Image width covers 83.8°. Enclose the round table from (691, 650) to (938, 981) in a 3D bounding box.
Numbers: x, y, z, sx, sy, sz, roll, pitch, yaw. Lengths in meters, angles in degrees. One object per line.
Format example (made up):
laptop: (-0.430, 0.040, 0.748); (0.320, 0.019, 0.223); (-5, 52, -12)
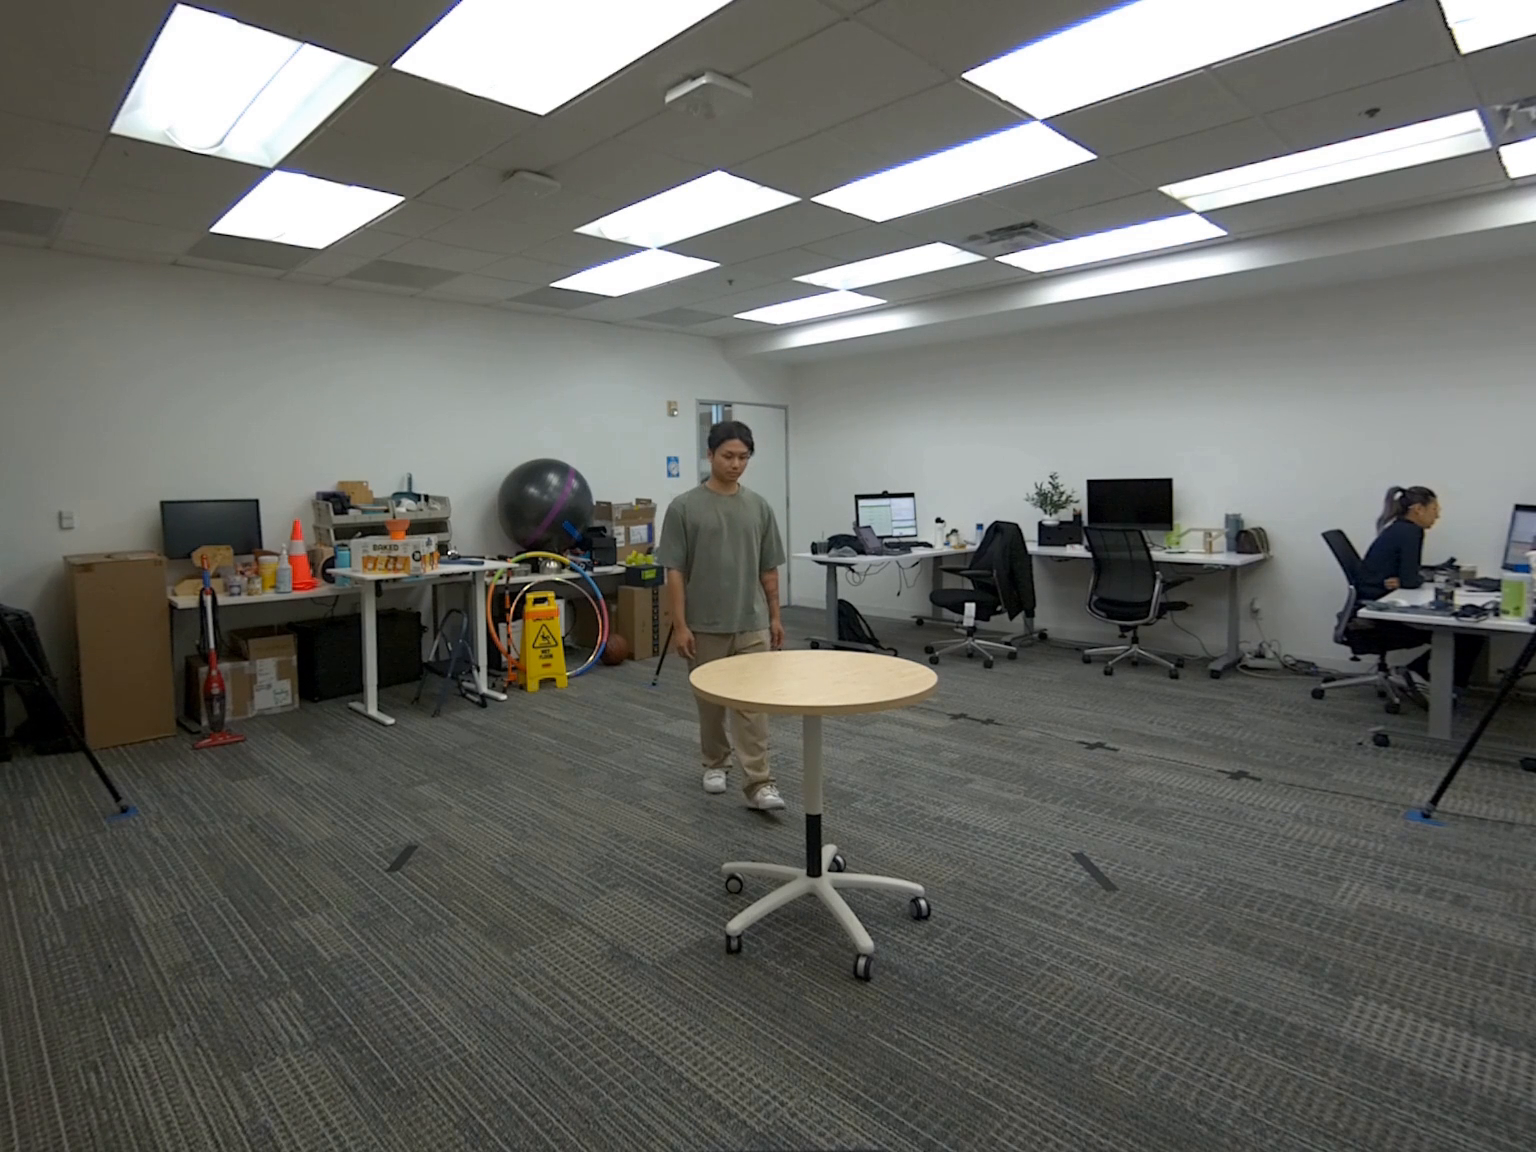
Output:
round table: (0.147, 0.699, 2.679); (0.784, 0.784, 0.788); (-1, 4, -2)
